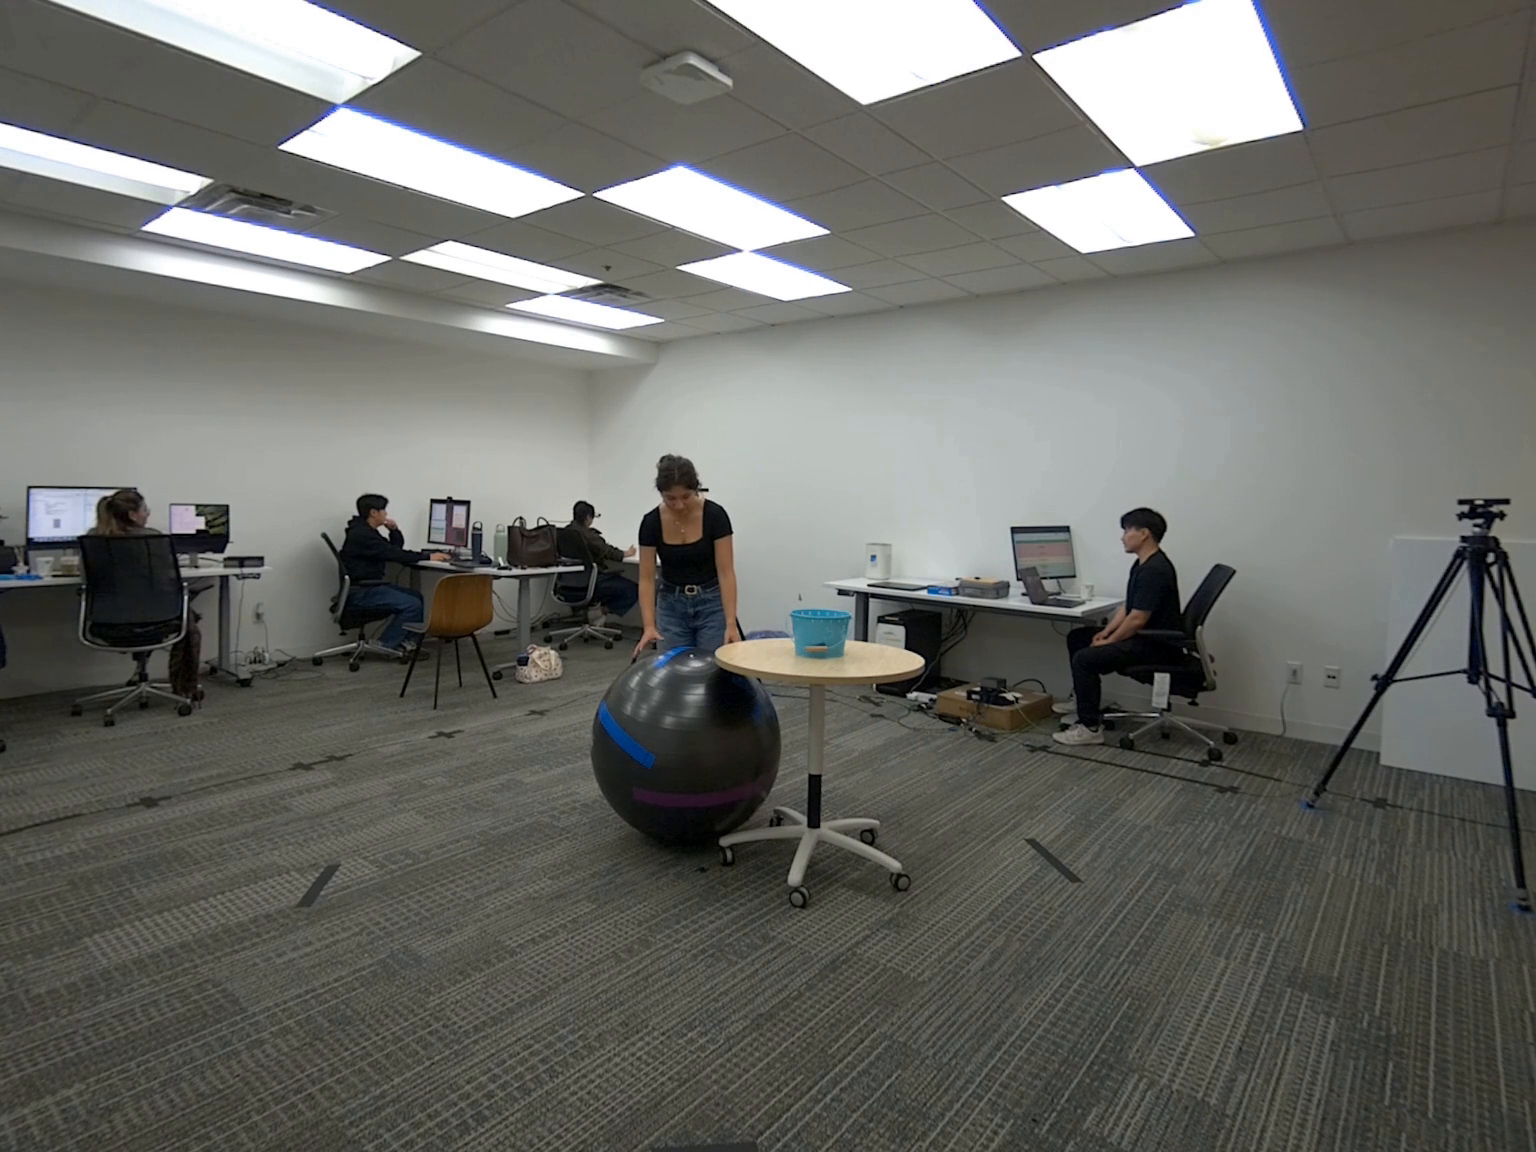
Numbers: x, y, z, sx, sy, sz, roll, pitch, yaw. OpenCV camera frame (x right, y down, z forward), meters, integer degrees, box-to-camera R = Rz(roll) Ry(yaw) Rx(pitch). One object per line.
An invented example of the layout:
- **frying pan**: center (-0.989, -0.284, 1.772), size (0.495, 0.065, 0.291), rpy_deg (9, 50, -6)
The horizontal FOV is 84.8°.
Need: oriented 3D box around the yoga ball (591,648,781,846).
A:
- **yoga ball**: center (-0.338, 0.674, 3.397), size (0.757, 0.756, 0.762), rpy_deg (1, 4, -2)
